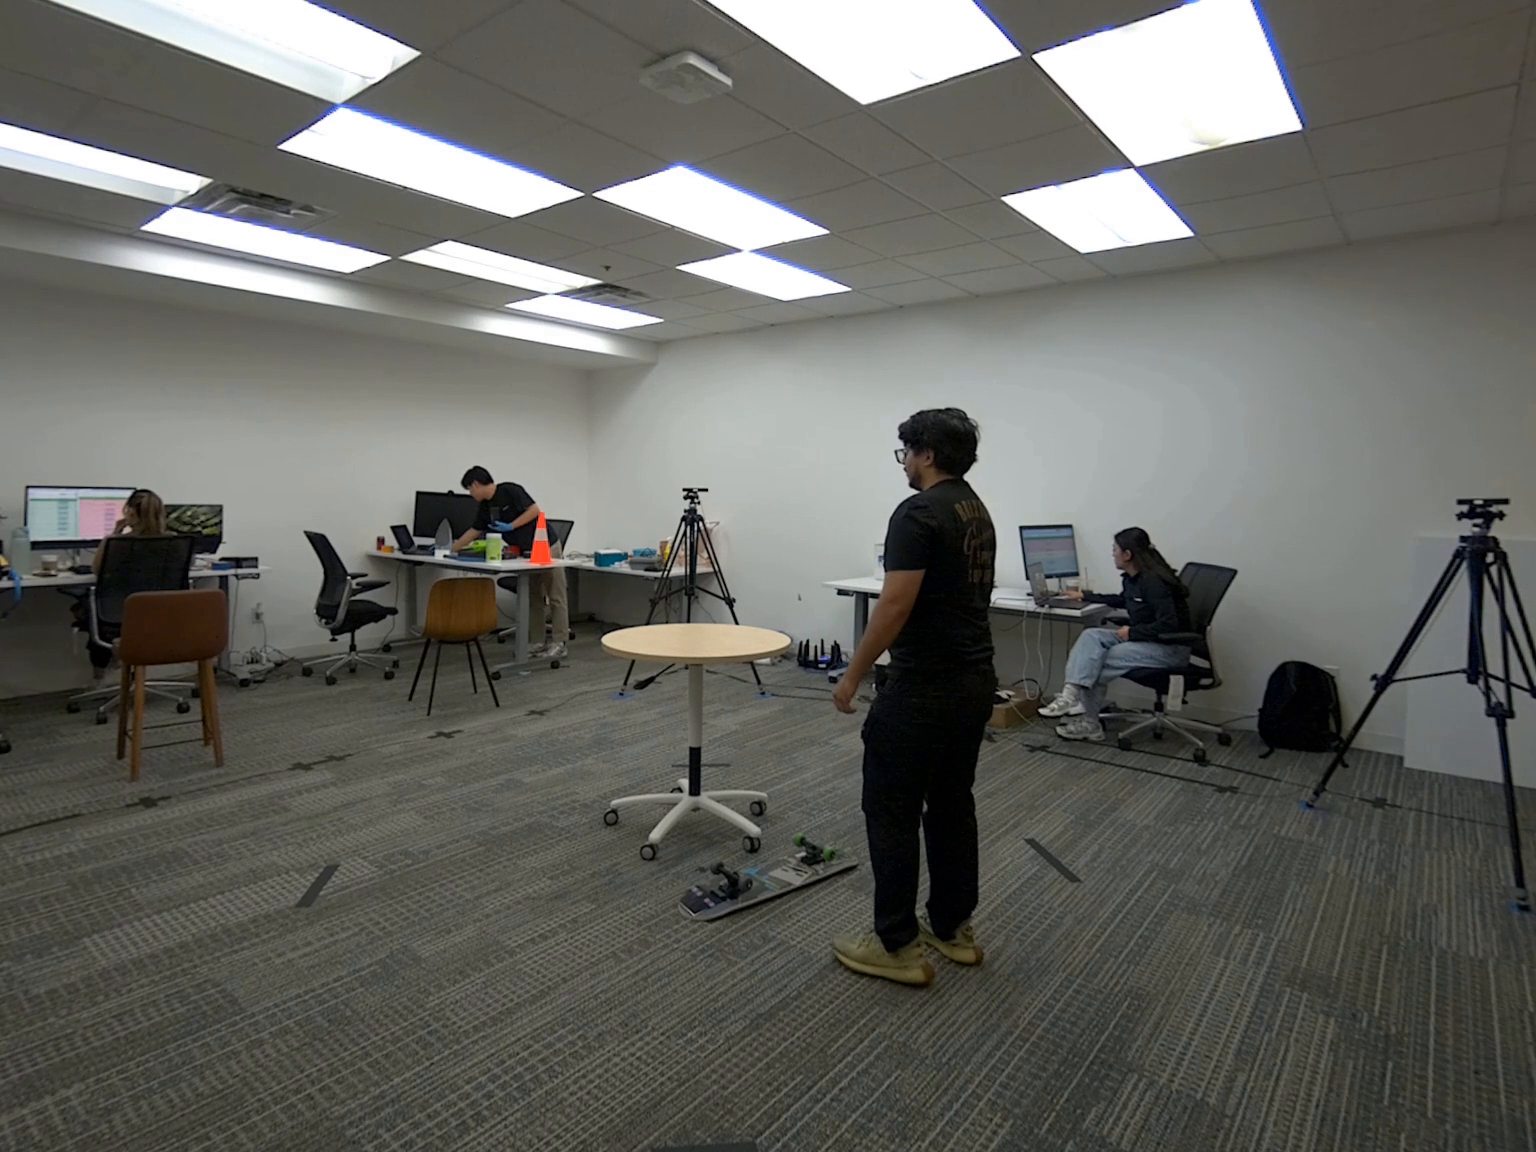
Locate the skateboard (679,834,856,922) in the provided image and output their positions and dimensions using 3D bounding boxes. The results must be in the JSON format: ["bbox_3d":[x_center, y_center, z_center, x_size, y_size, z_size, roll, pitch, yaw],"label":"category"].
[{"bbox_3d":[0.017,1.034,3.005,0.762,0.110,0.200,-4,8,-40],"label":"skateboard"}]
